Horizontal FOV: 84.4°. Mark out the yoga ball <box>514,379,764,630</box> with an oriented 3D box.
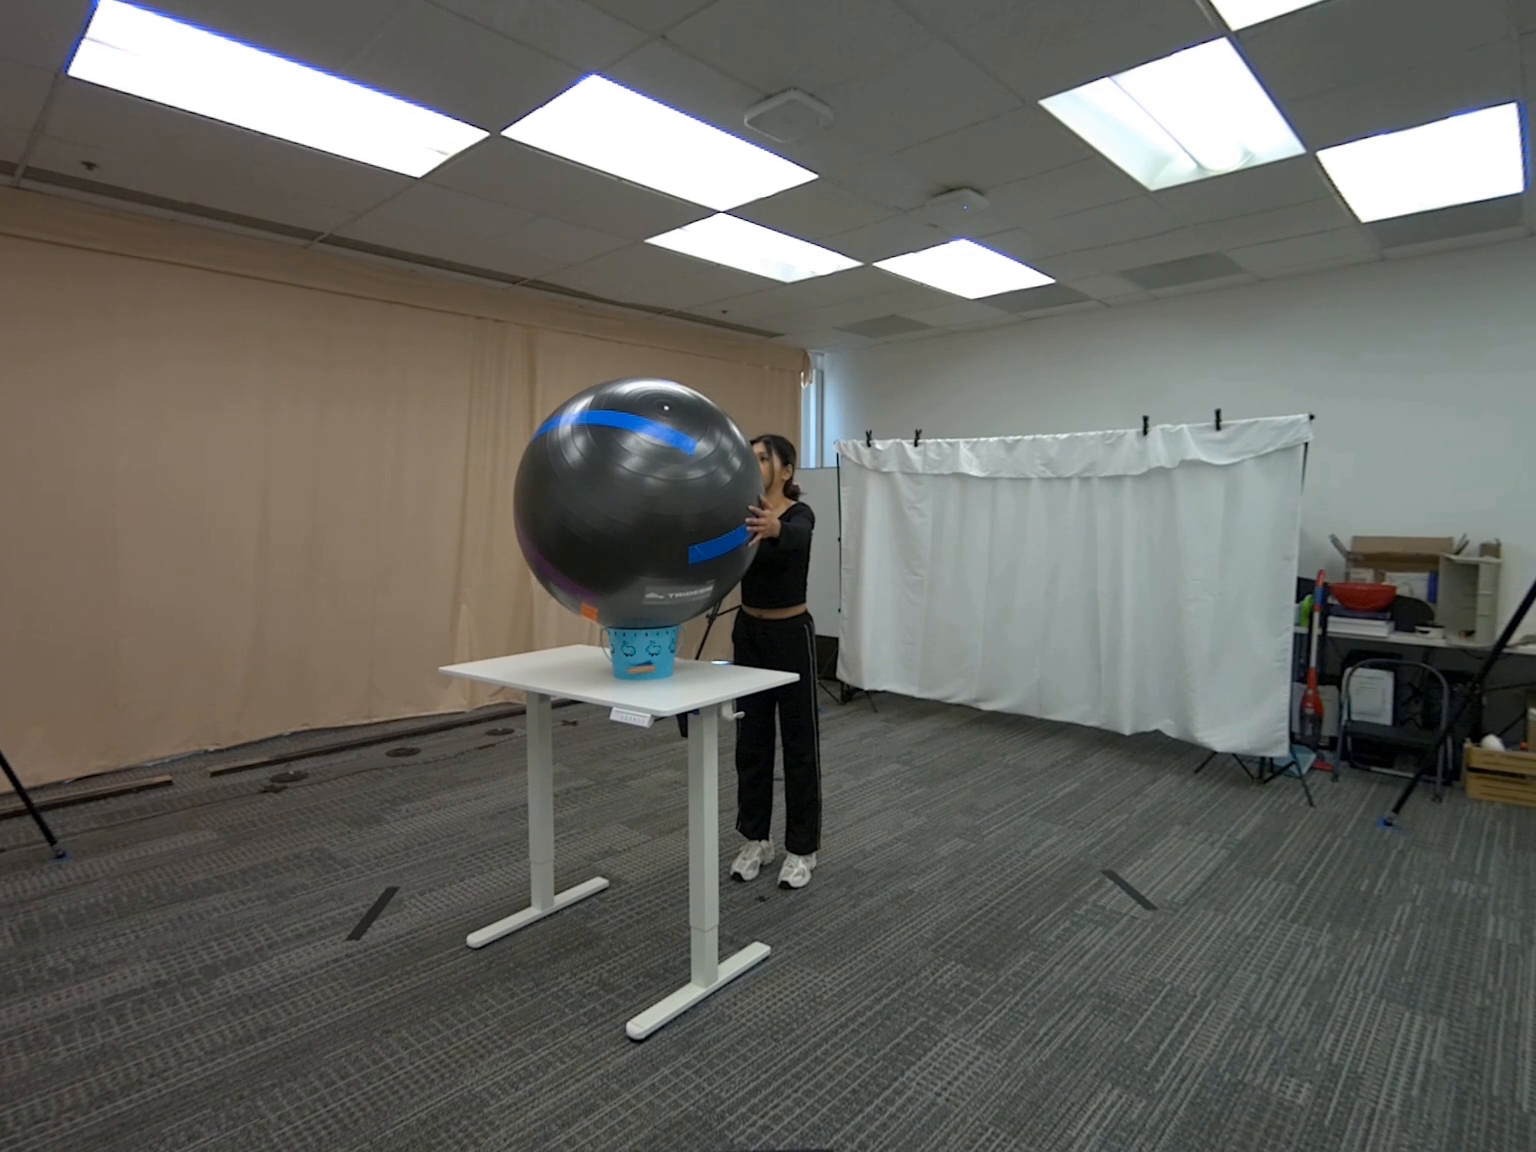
[{"bbox_3d":[-0.393,-0.208,2.541,0.757,0.756,0.761,0,4,-2],"label":"yoga ball"}]
